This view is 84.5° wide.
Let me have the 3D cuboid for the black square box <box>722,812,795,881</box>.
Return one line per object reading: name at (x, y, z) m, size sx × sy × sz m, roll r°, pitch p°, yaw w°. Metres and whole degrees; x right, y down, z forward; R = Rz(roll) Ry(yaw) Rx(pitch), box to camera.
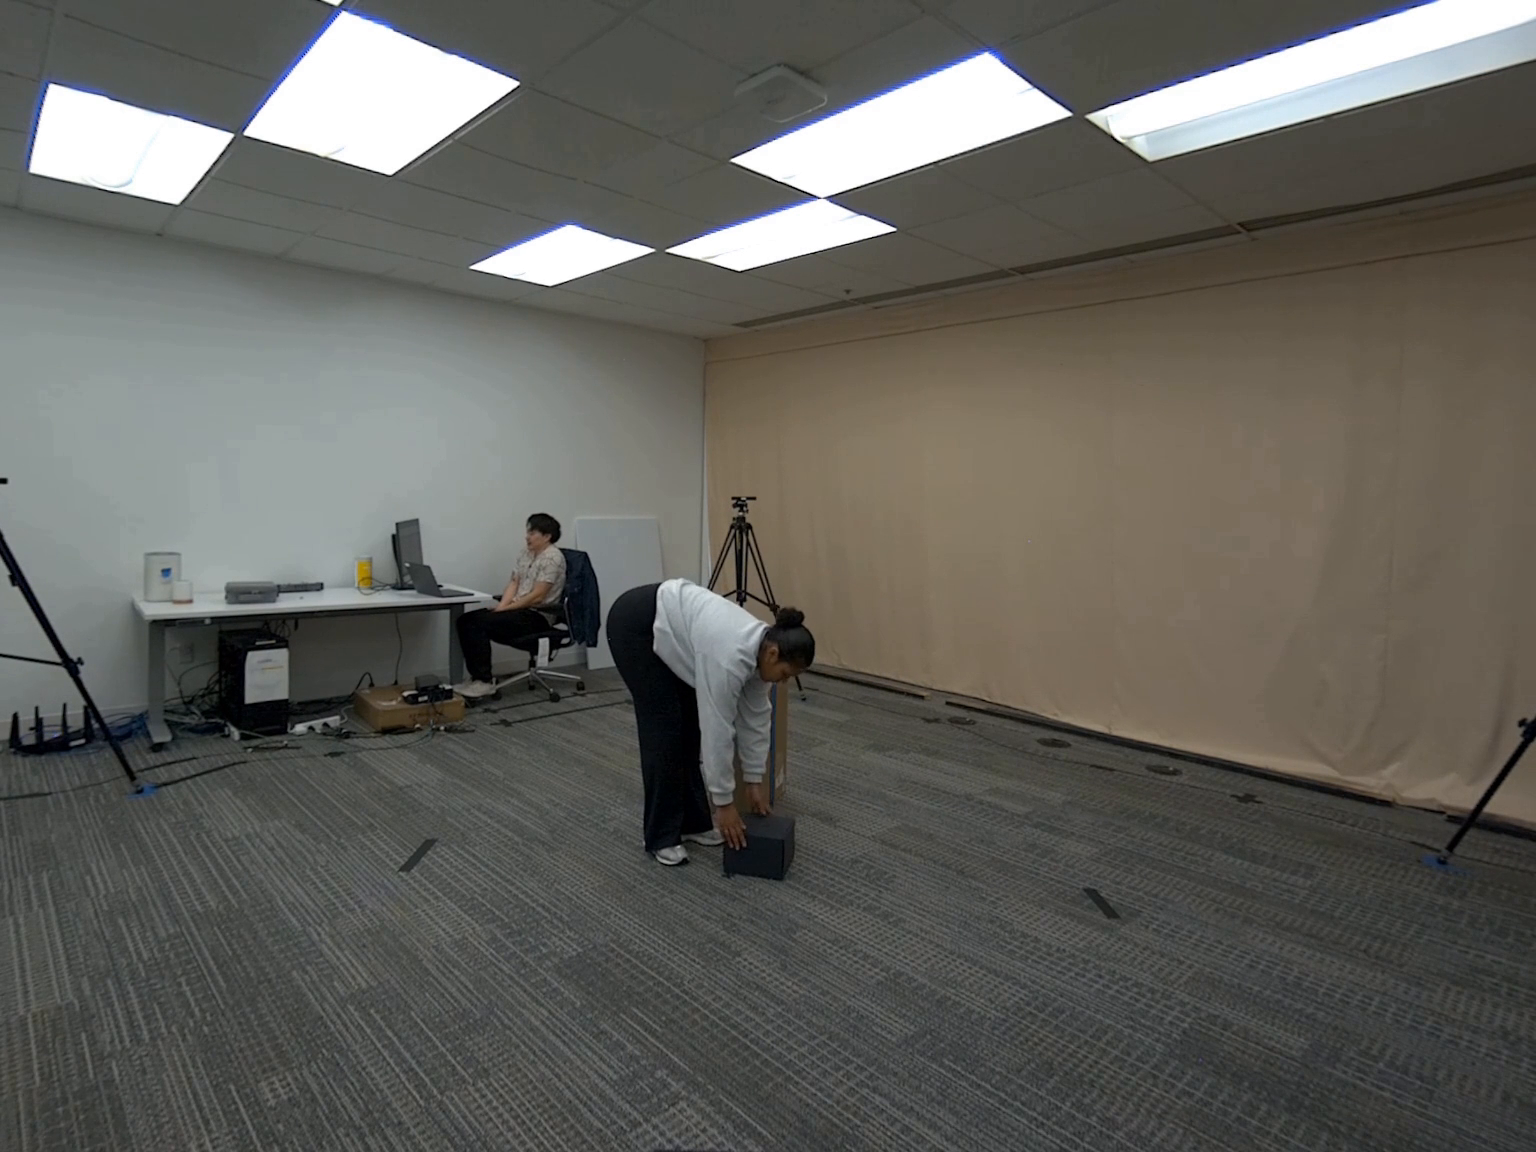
black square box at (-0.043, 1.016, 3.193) m, size 0.231 × 0.155 × 0.215 m, roll 3°, pitch 5°, yaw 14°
